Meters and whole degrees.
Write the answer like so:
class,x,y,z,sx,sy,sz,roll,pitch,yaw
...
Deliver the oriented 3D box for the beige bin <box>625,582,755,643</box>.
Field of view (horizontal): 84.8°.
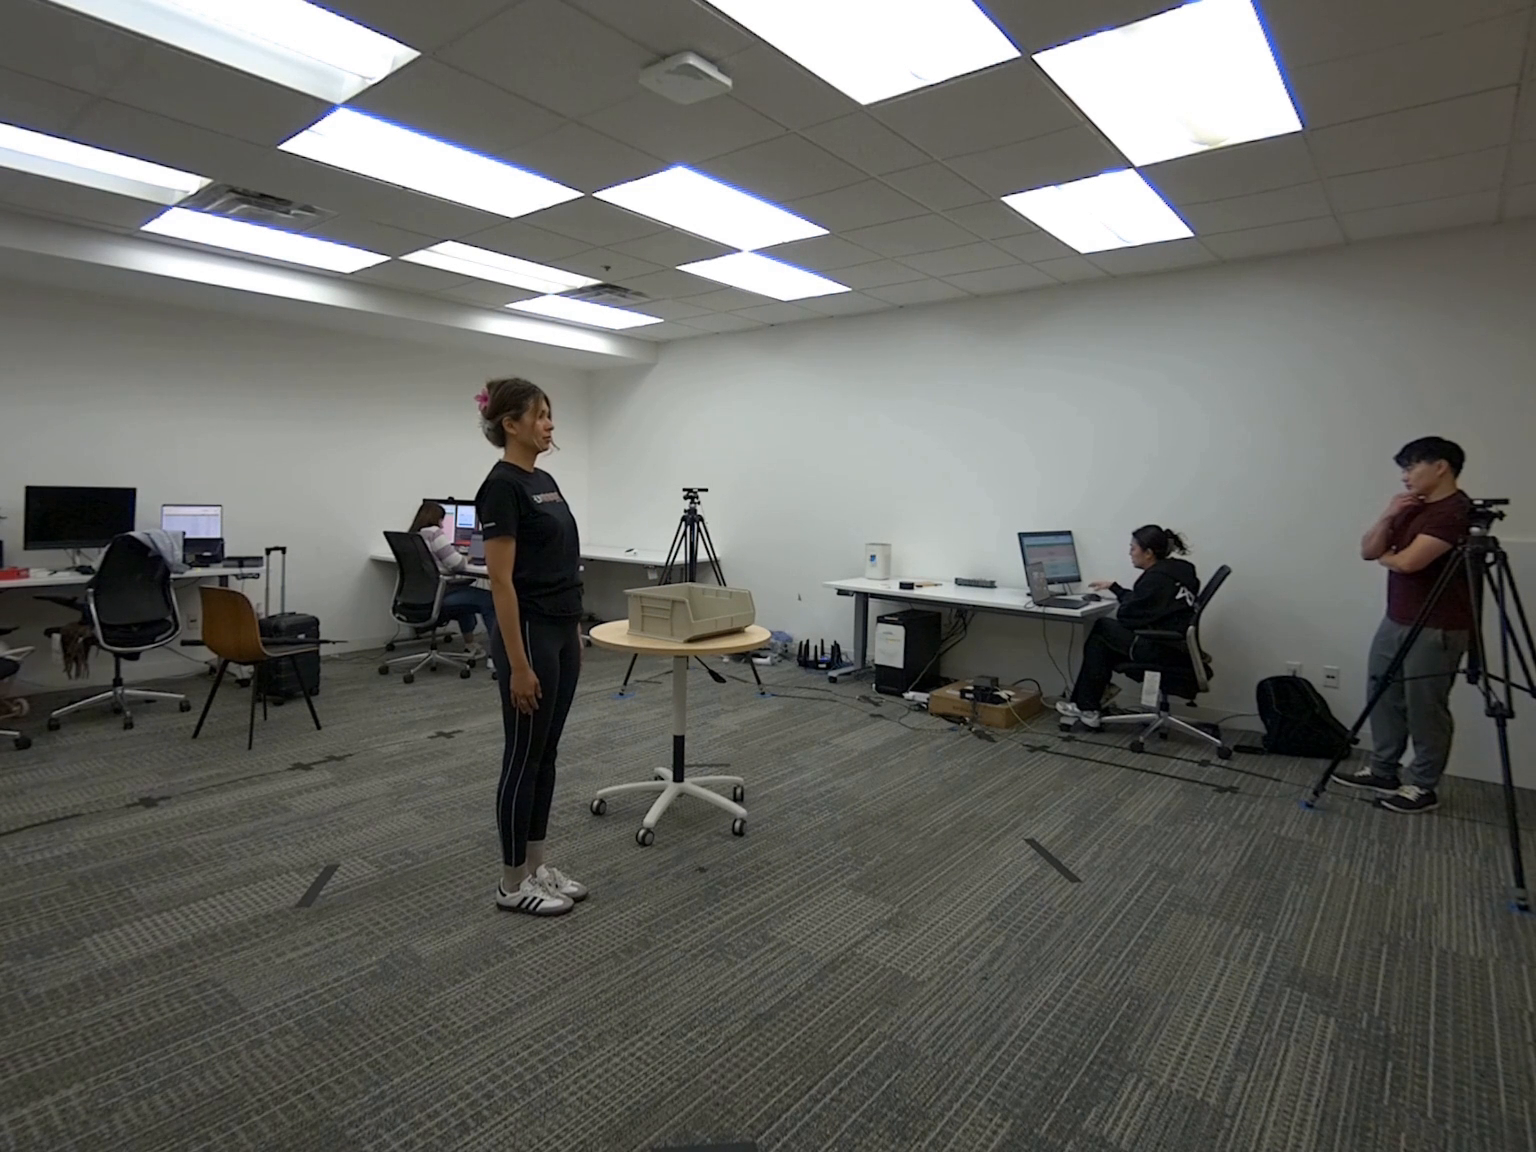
class,x,y,z,sx,sy,sz,roll,pitch,yaw
beige bin,-0.335,0.149,3.579,0.390,0.188,0.410,4,7,37
